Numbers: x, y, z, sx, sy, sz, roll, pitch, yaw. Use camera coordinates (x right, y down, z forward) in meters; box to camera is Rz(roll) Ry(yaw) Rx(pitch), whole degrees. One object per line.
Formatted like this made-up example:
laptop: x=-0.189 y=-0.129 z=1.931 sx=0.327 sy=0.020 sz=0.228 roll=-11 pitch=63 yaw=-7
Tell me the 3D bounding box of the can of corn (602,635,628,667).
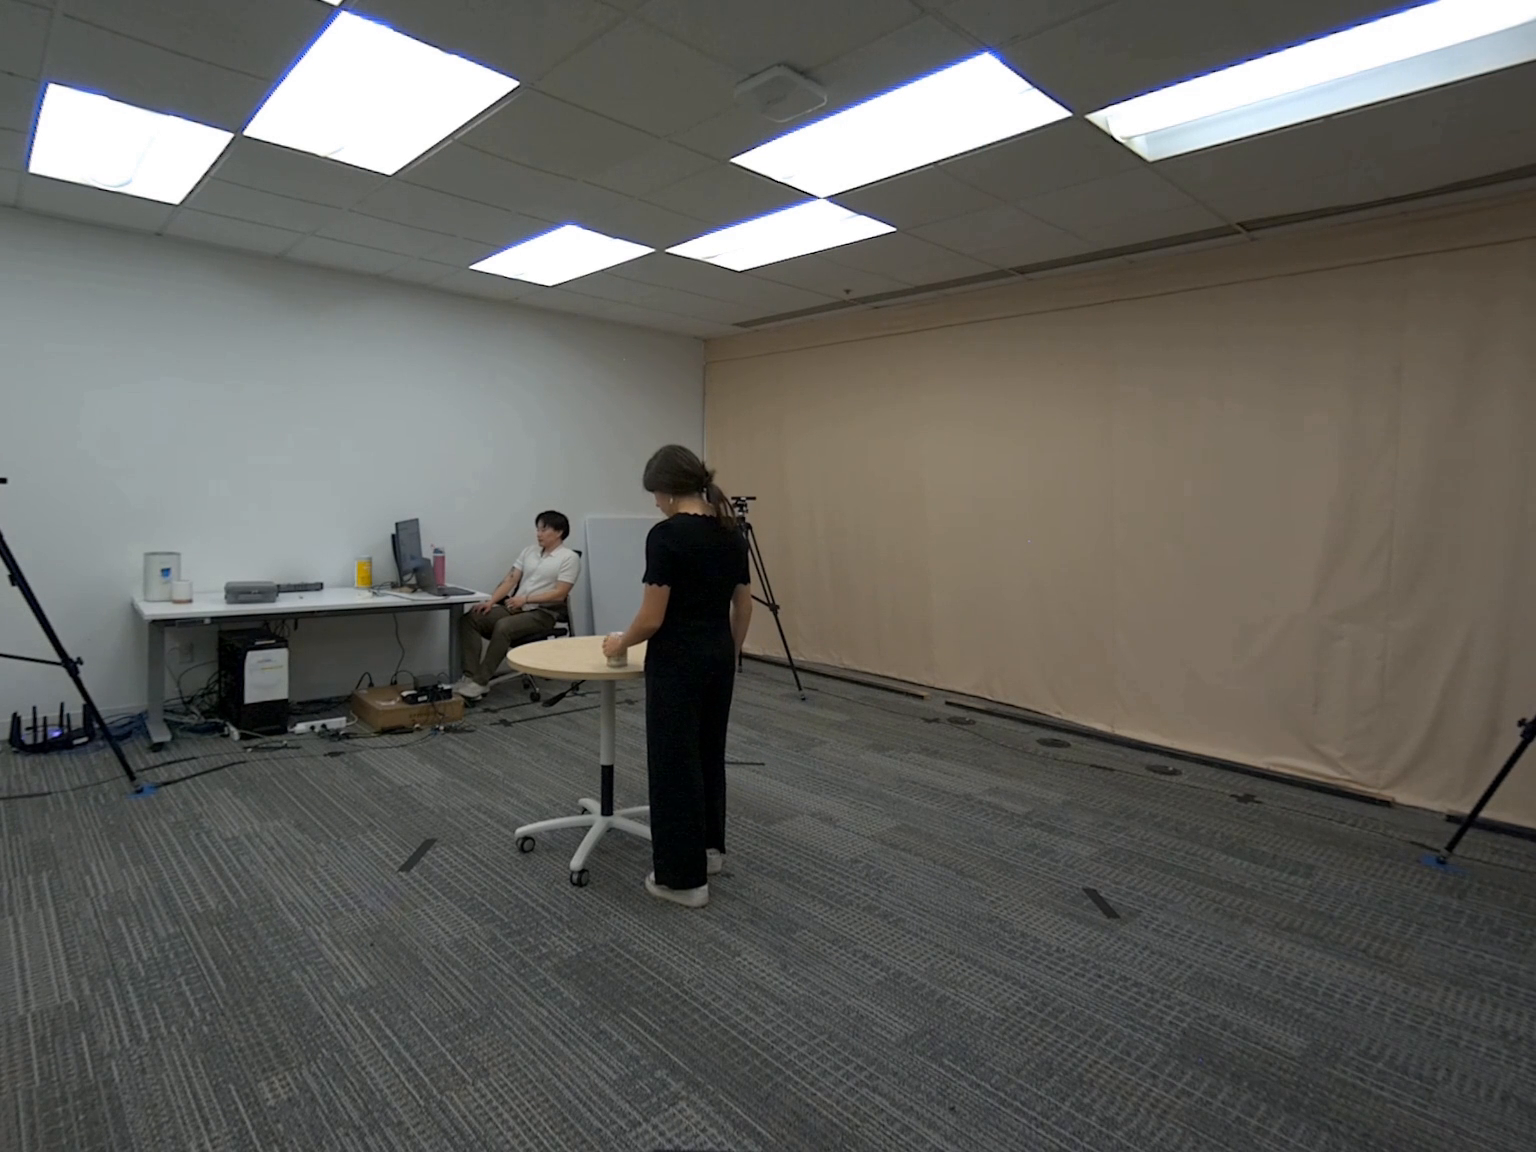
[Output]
can of corn: x=-0.540 y=0.267 z=3.027 sx=0.074 sy=0.110 sz=0.074 roll=1 pitch=7 yaw=-1
